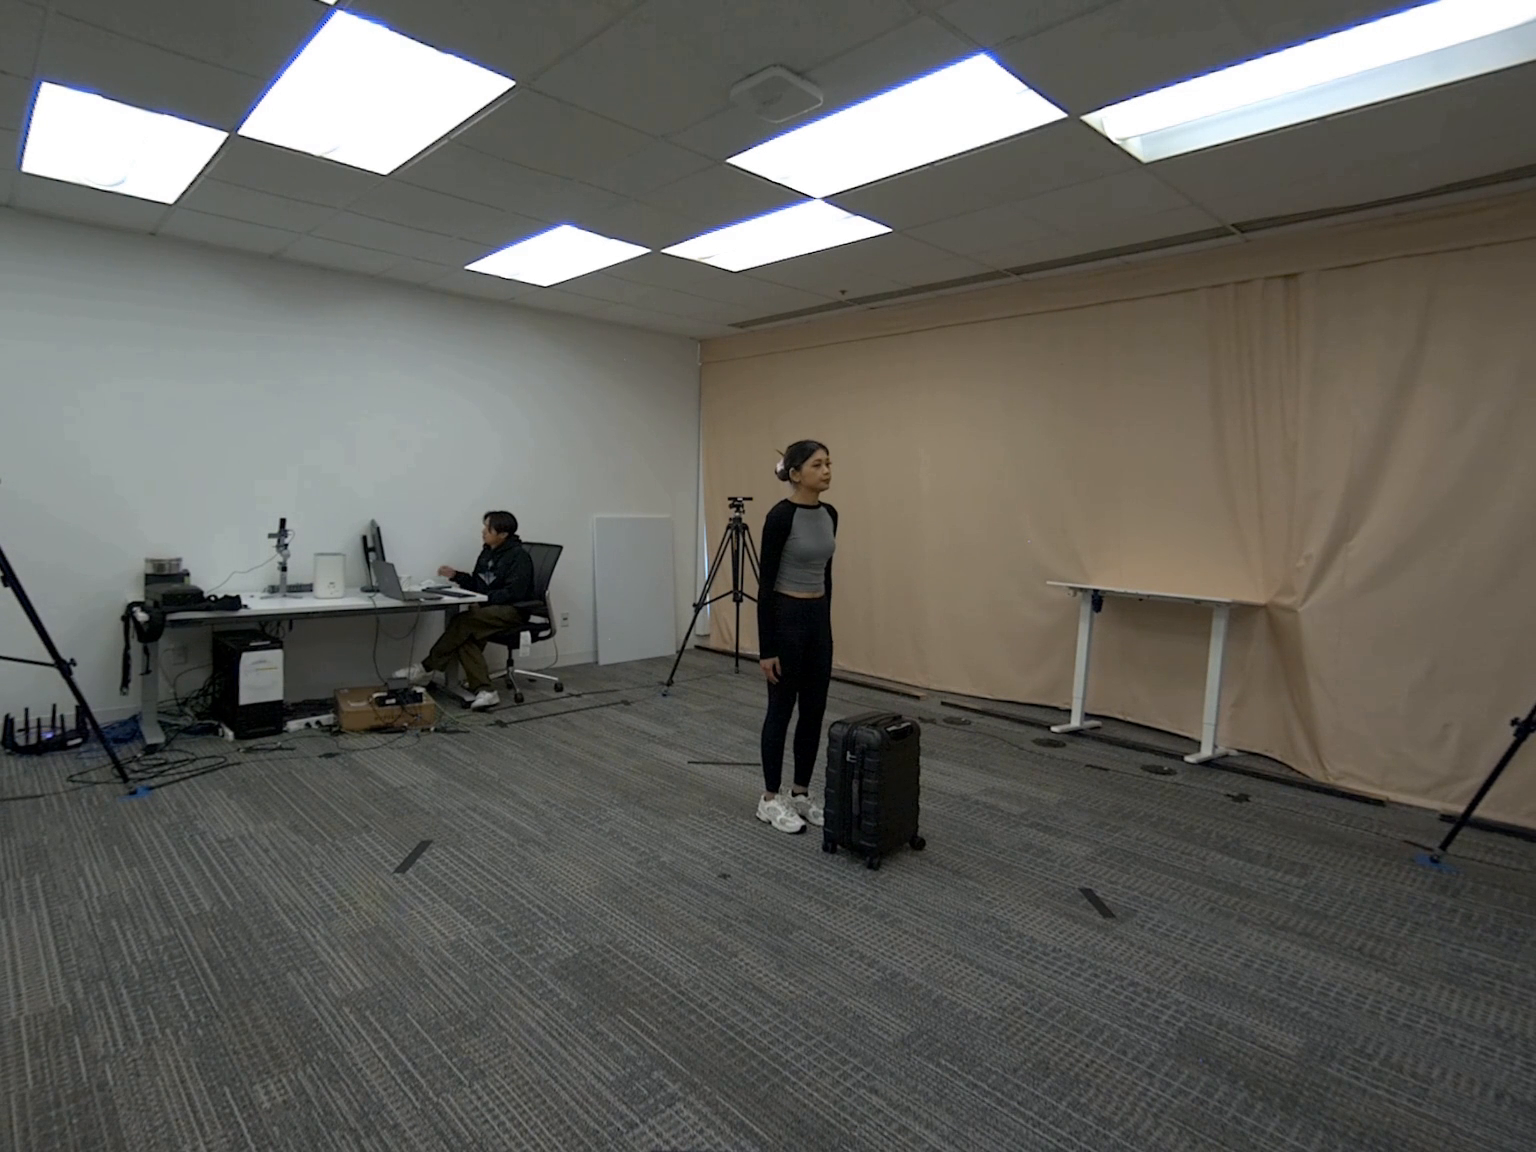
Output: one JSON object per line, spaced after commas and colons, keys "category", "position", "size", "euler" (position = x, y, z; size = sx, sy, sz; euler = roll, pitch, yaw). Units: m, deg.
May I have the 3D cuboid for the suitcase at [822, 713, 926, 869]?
{"category": "suitcase", "position": [0.412, 0.825, 3.339], "size": [0.254, 0.548, 0.367], "euler": [4, 6, 43]}
